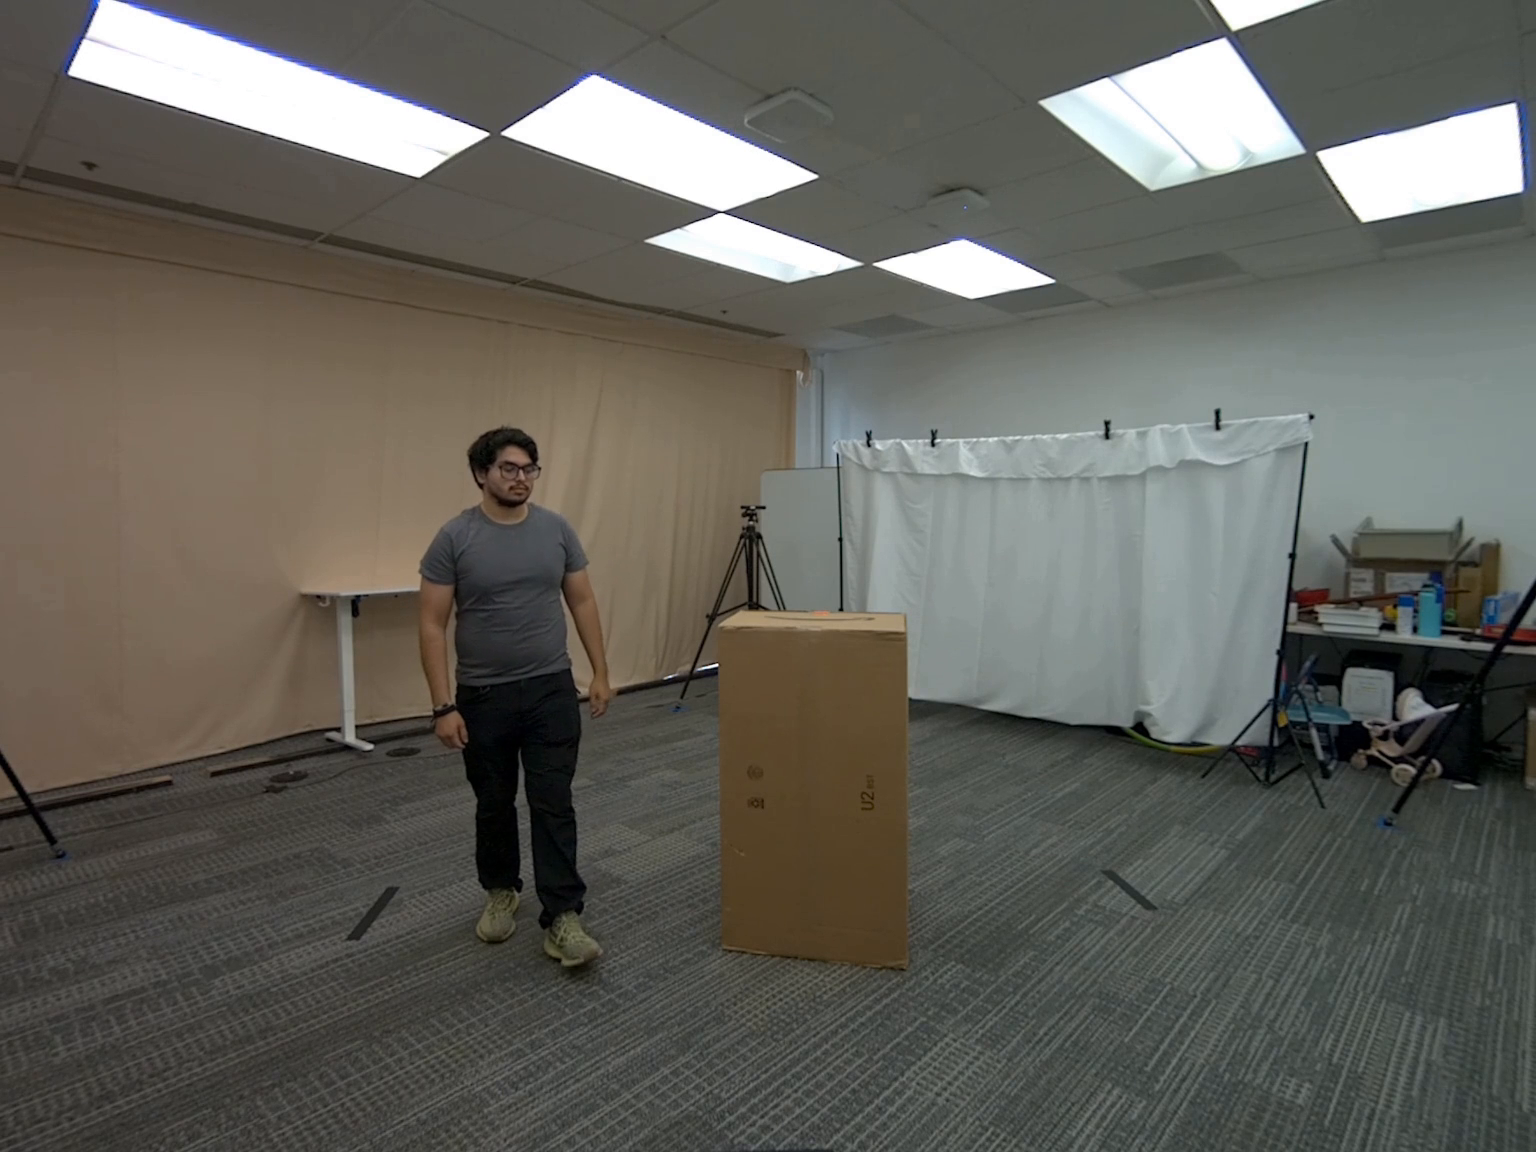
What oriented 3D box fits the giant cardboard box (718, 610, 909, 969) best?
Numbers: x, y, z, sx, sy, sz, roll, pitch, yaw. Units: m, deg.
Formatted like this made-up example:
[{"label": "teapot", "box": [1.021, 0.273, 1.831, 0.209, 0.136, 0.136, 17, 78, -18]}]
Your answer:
[{"label": "giant cardboard box", "box": [0.163, 0.649, 2.761, 0.586, 1.024, 0.421, 0, 3, 13]}]
